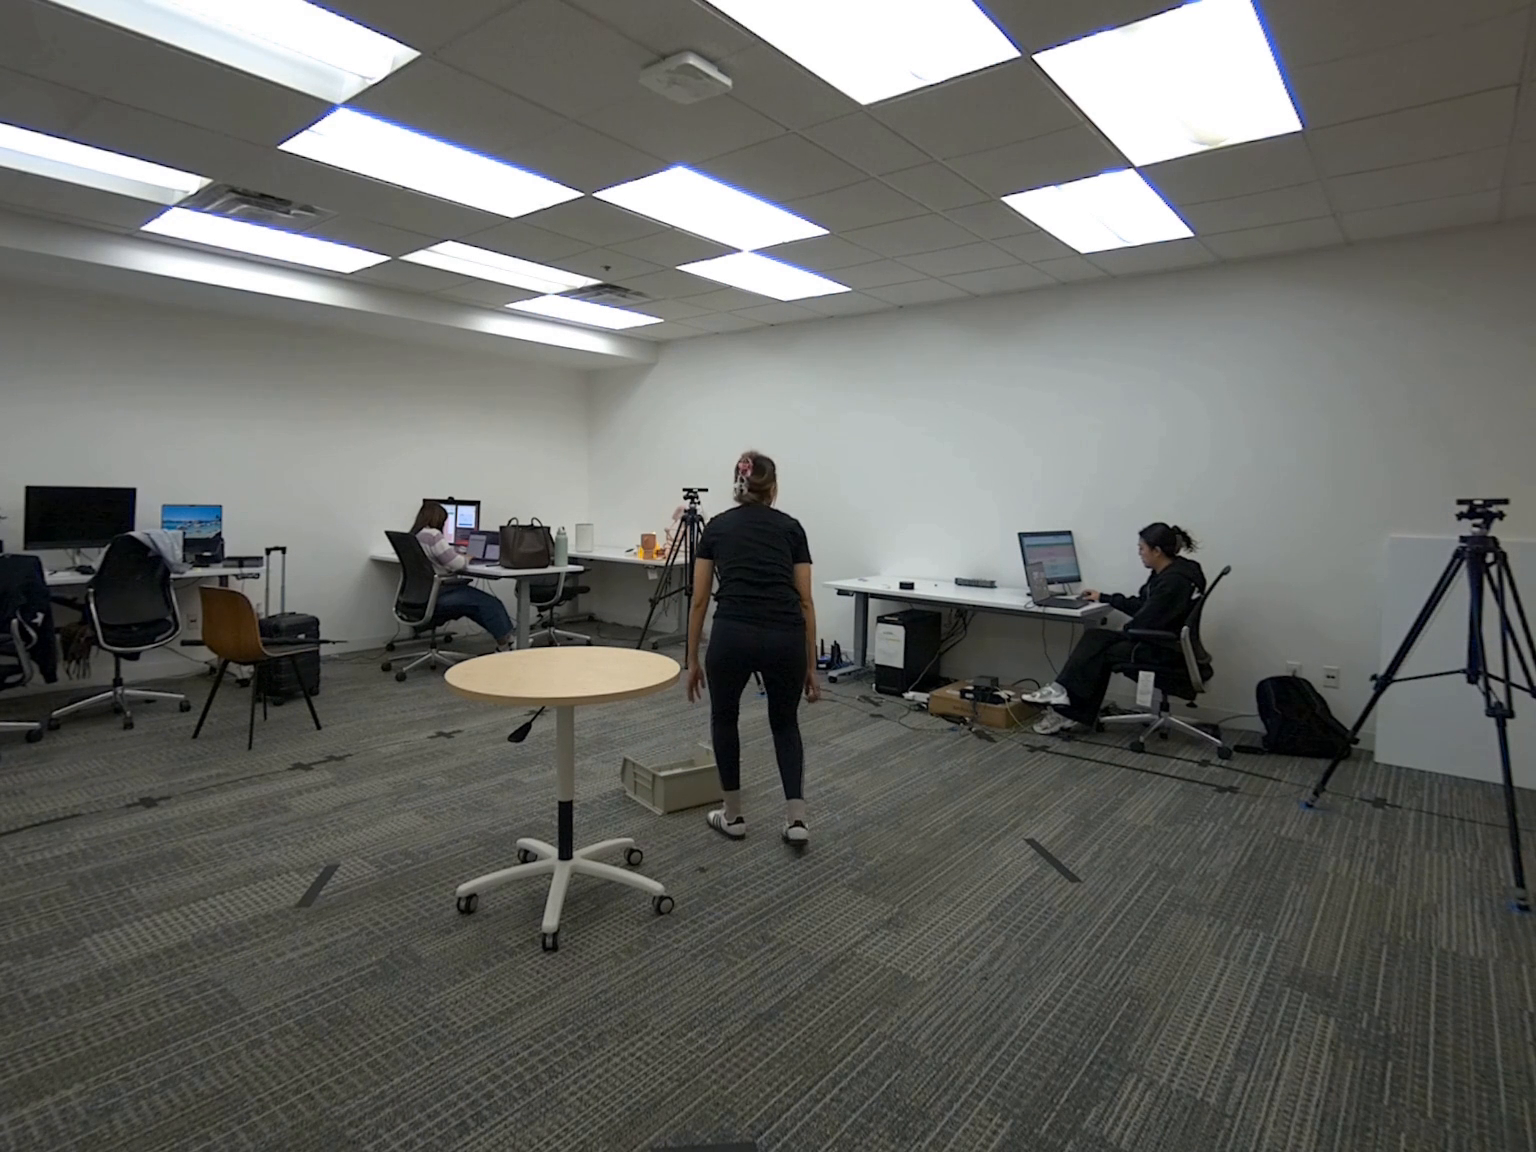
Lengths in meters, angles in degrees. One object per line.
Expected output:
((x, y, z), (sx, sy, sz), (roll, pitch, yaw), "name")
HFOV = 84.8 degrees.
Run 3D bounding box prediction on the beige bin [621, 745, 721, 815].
((-0.414, 0.906, 3.866), (0.410, 0.188, 0.390), (-2, 7, -36), "beige bin")
